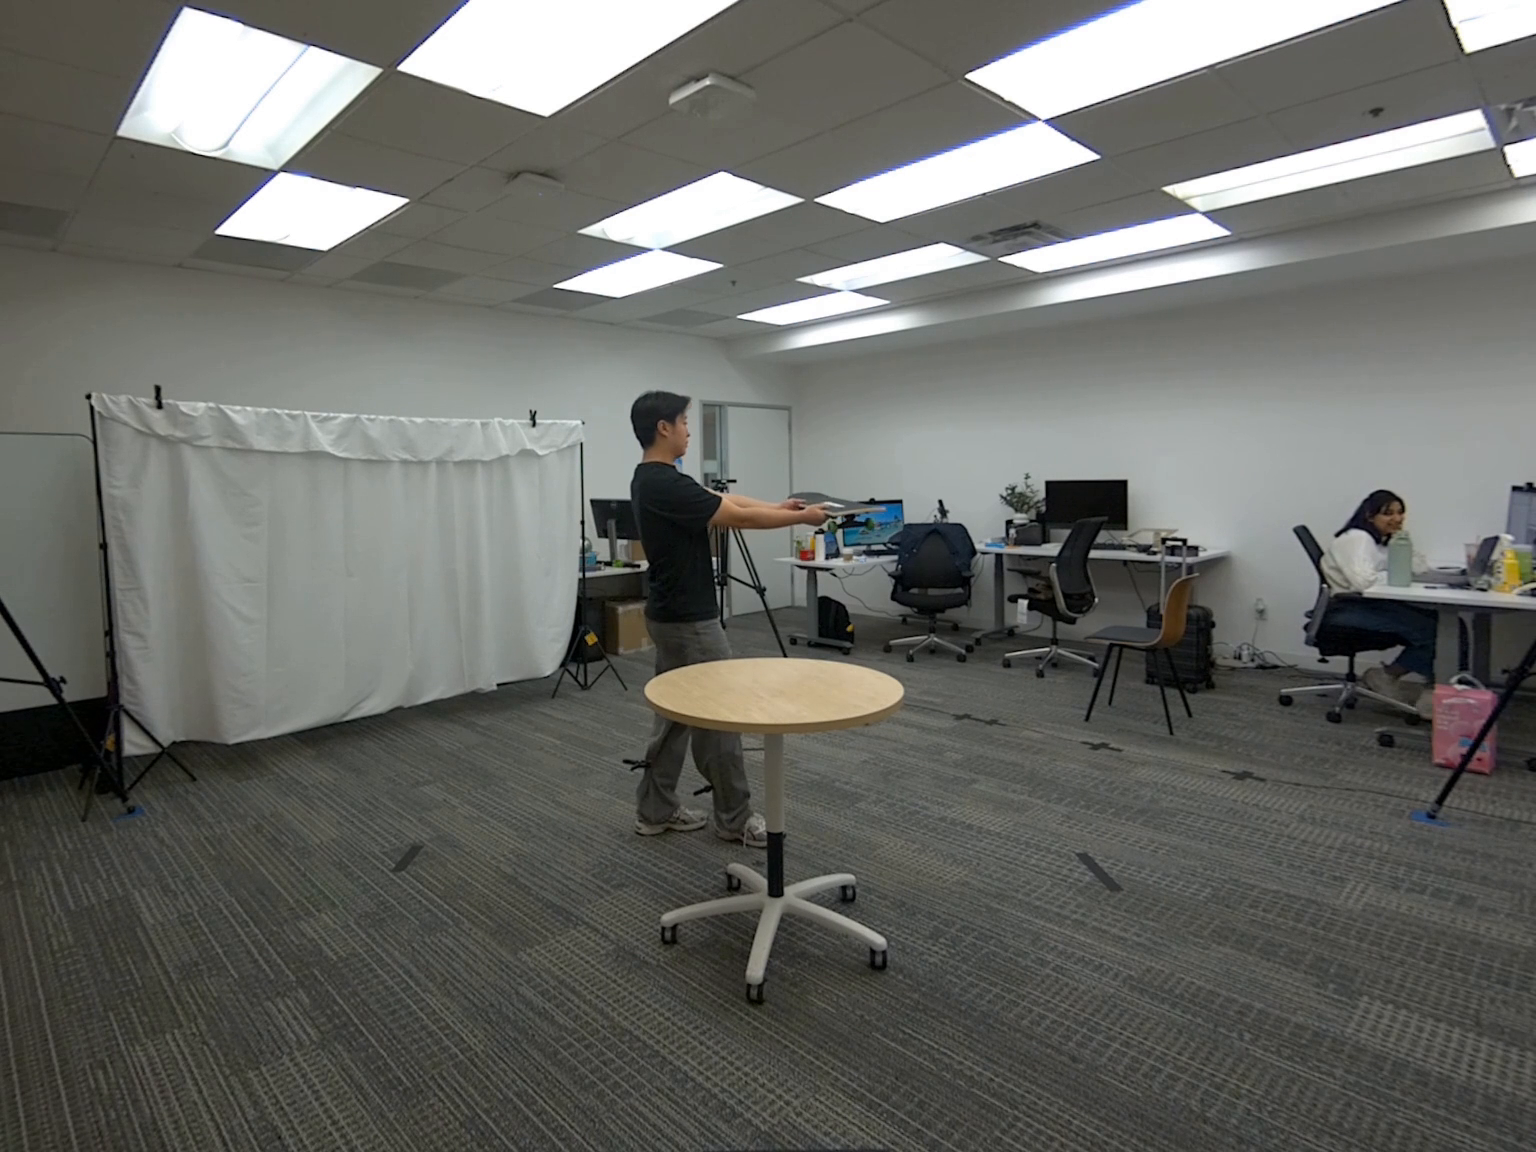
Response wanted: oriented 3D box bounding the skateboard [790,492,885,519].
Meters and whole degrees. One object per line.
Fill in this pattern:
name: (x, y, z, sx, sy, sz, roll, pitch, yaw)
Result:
skateboard: (0.279, -0.267, 3.478, 0.191, 0.109, 0.803, -7, 11, -16)
